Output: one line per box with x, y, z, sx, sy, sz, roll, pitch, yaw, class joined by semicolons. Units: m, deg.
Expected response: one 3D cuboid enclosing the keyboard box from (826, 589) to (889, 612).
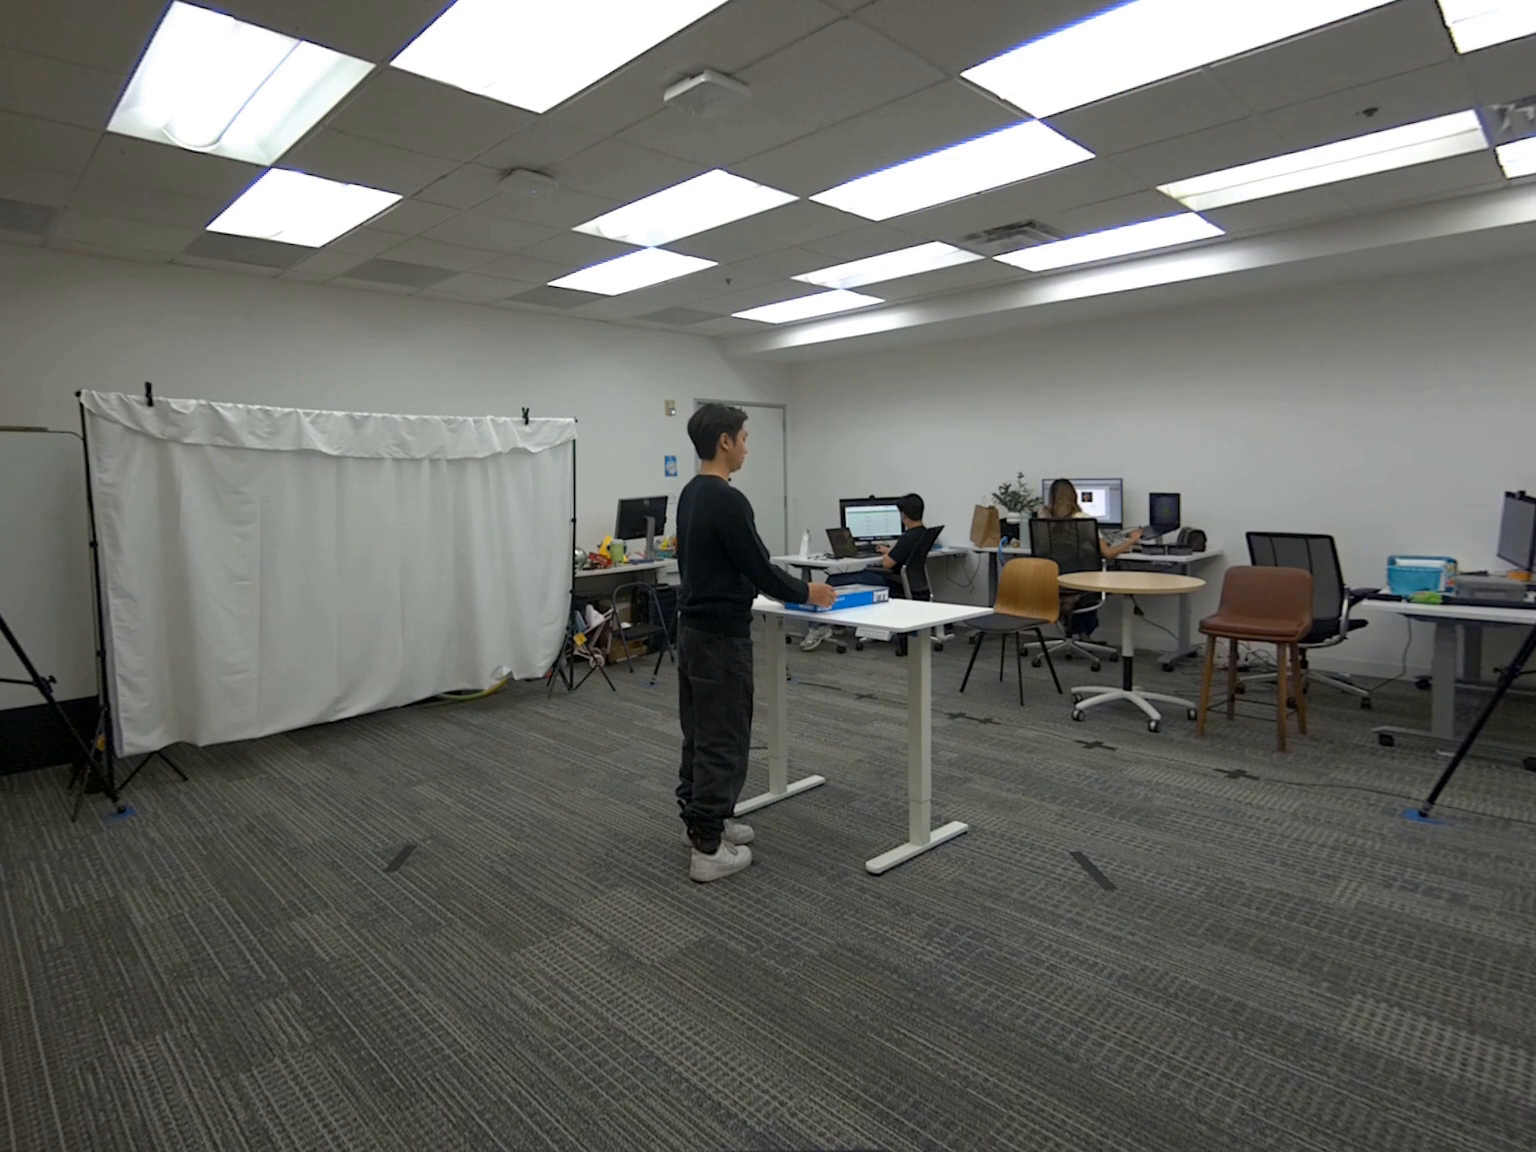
0.281;0.088;3.421;0.425;0.059;0.181;-7;8;-41;keyboard box
